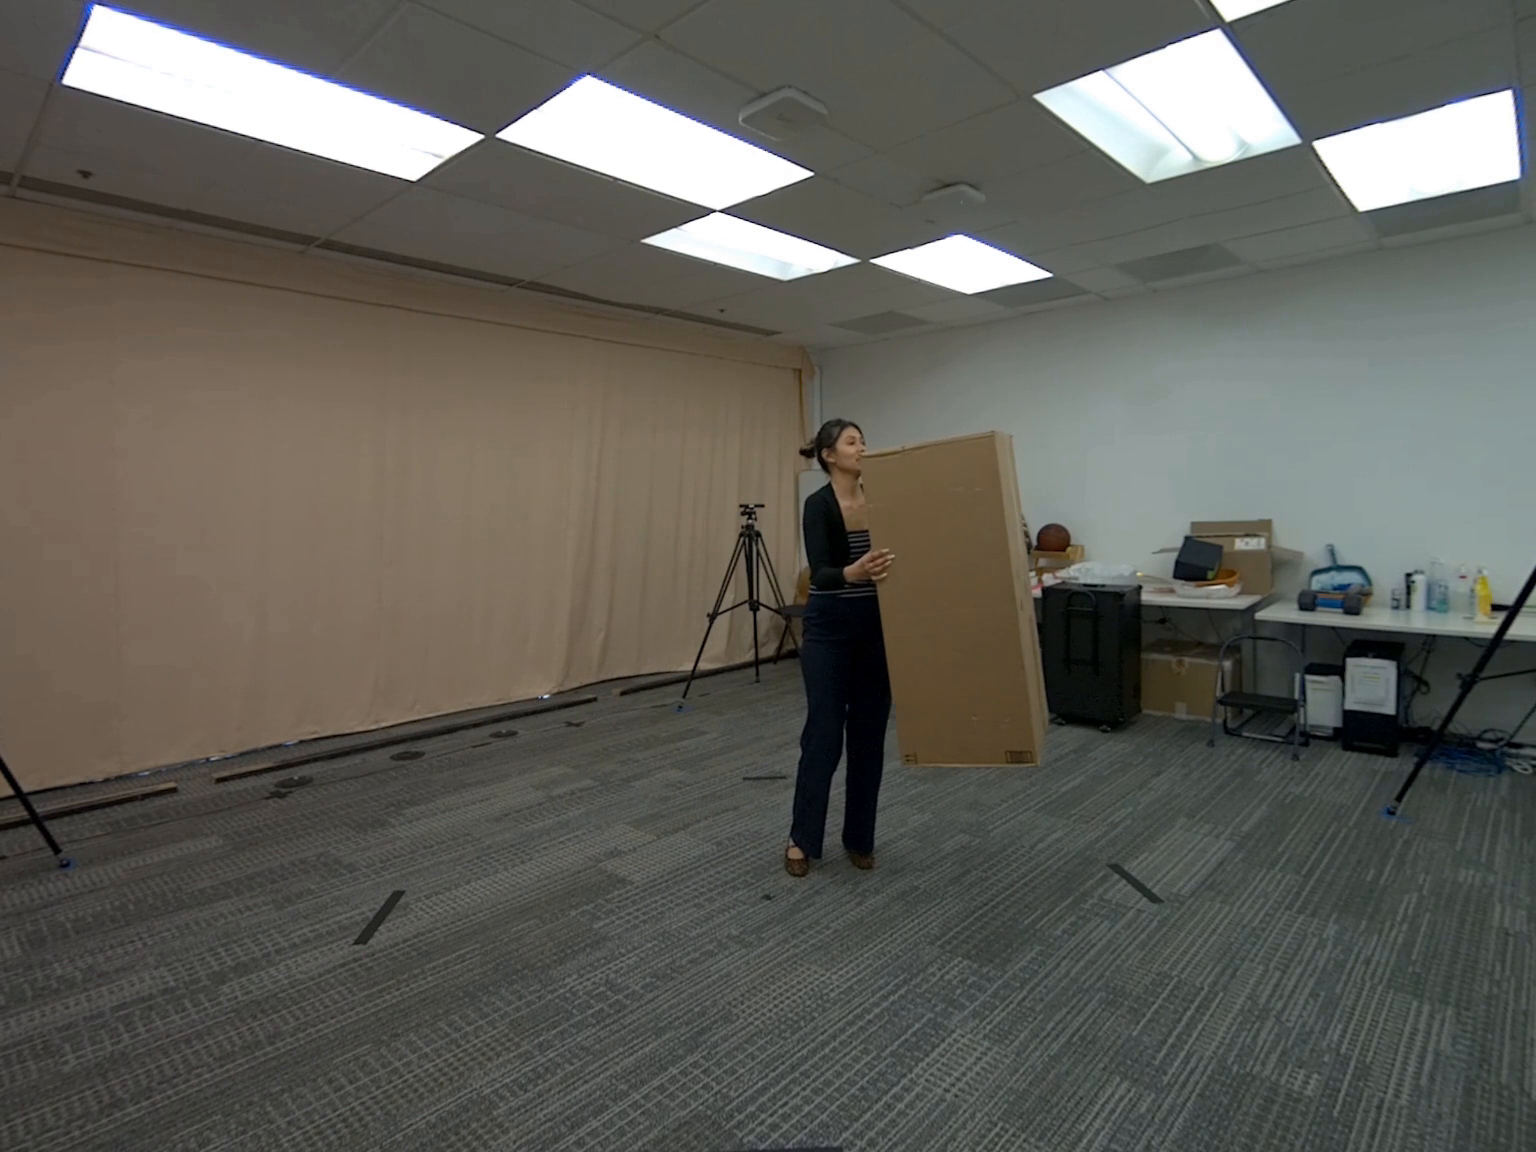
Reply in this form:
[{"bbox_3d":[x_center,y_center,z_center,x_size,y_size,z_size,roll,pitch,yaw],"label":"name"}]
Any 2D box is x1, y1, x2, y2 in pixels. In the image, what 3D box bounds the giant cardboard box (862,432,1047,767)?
[{"bbox_3d":[0.654,0.062,2.851,0.436,1.023,0.566,-7,3,24],"label":"giant cardboard box"}]
